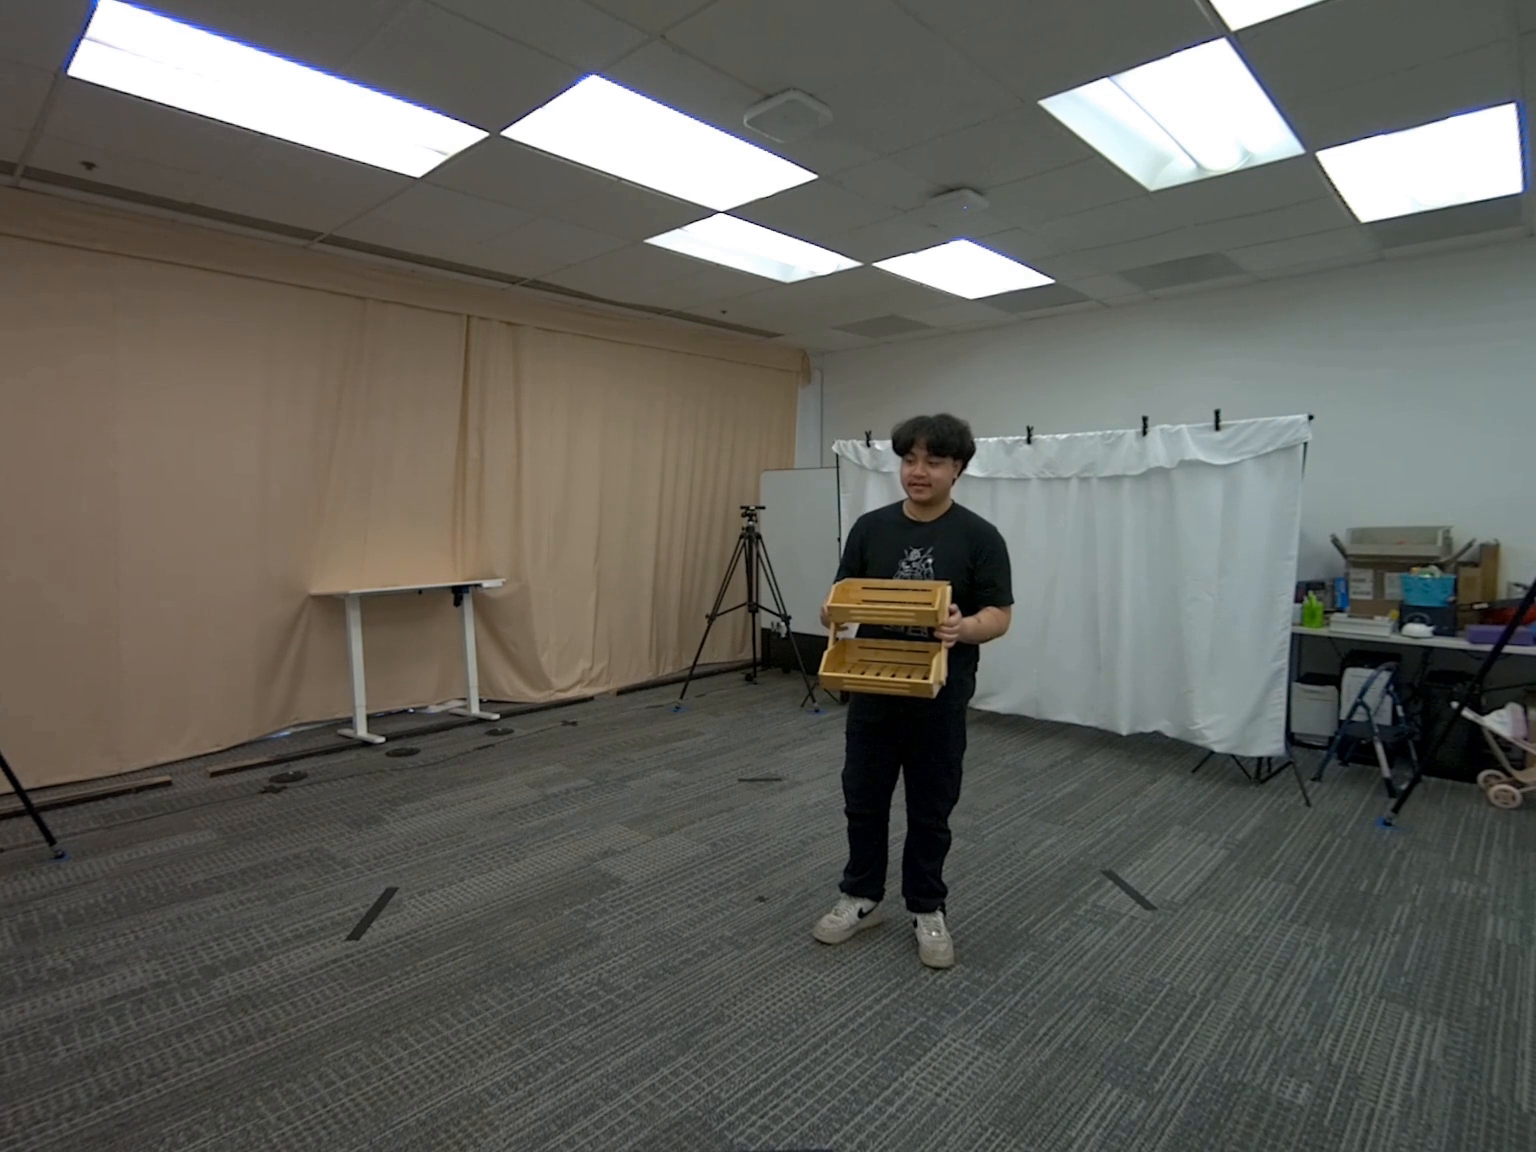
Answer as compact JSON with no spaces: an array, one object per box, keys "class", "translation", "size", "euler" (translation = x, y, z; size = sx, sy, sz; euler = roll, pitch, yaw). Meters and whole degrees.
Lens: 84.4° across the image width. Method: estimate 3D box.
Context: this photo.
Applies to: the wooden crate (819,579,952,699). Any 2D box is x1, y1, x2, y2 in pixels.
[{"class":"wooden crate","translation":[0.332,0.157,2.313],"size":[0.331,0.272,0.297],"euler":[1,7,20]}]
